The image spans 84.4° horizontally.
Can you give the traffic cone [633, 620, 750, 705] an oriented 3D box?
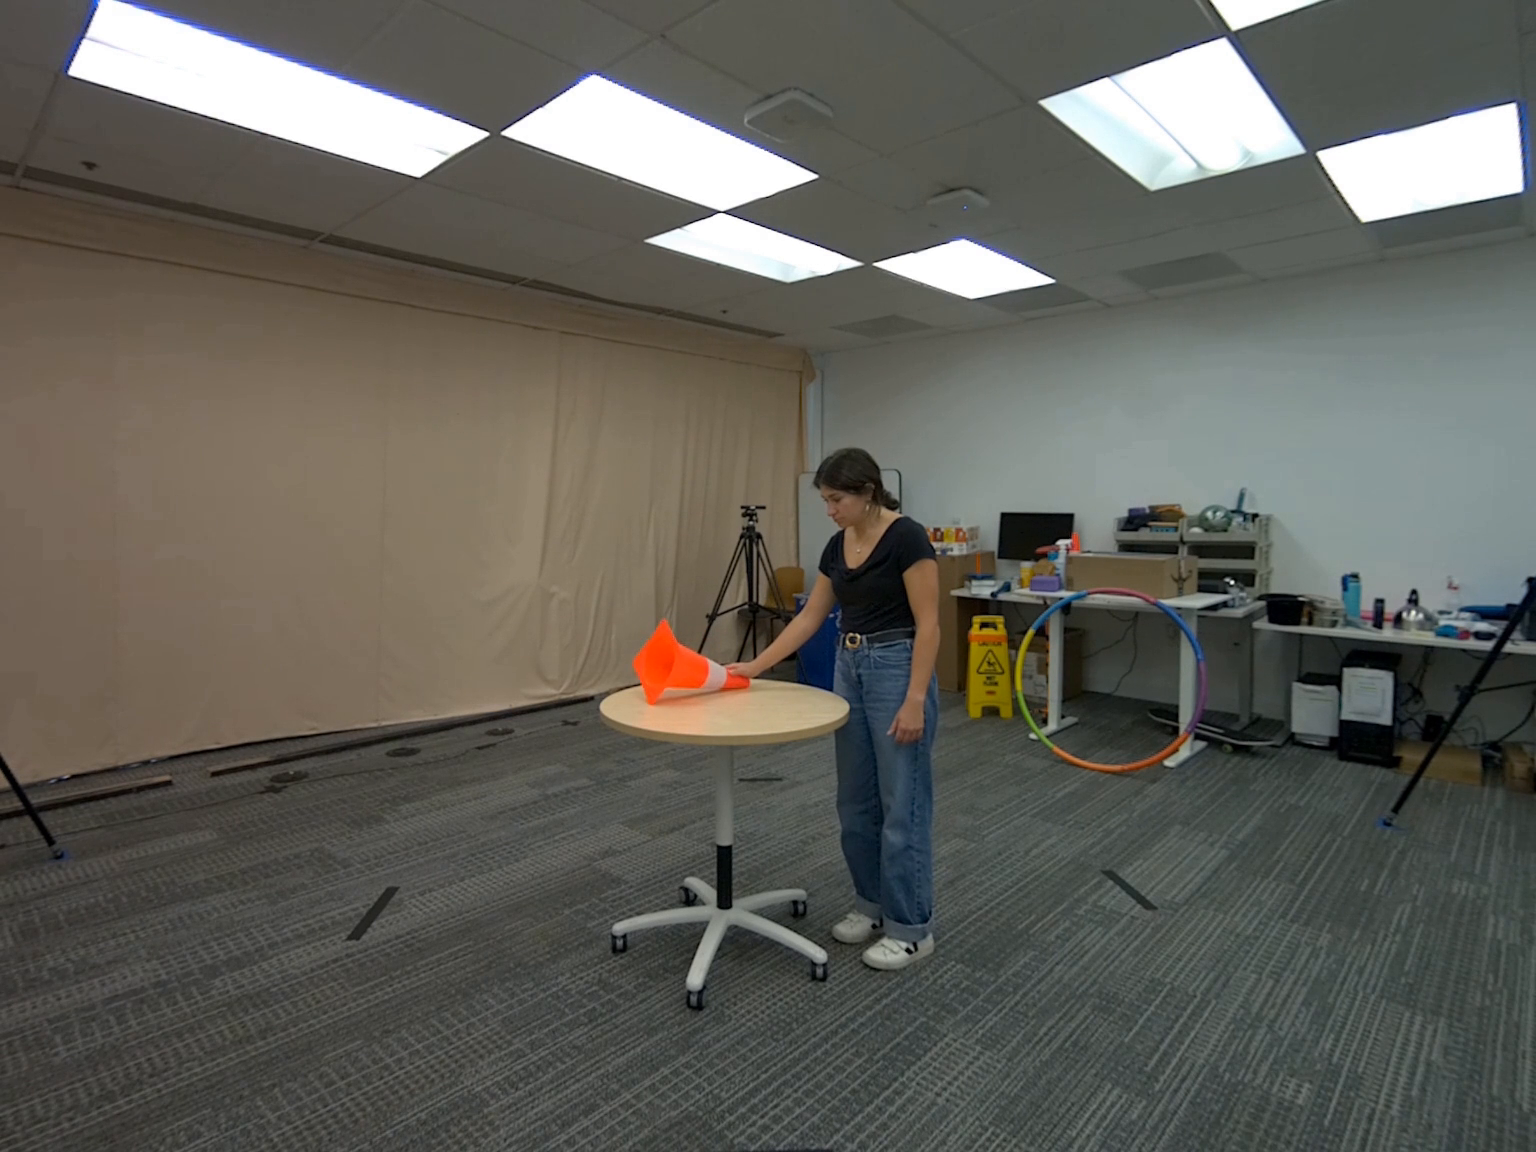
[{"bbox_3d":[-0.197,0.325,2.711,0.371,0.204,0.211,20,25,-35],"label":"traffic cone"}]
